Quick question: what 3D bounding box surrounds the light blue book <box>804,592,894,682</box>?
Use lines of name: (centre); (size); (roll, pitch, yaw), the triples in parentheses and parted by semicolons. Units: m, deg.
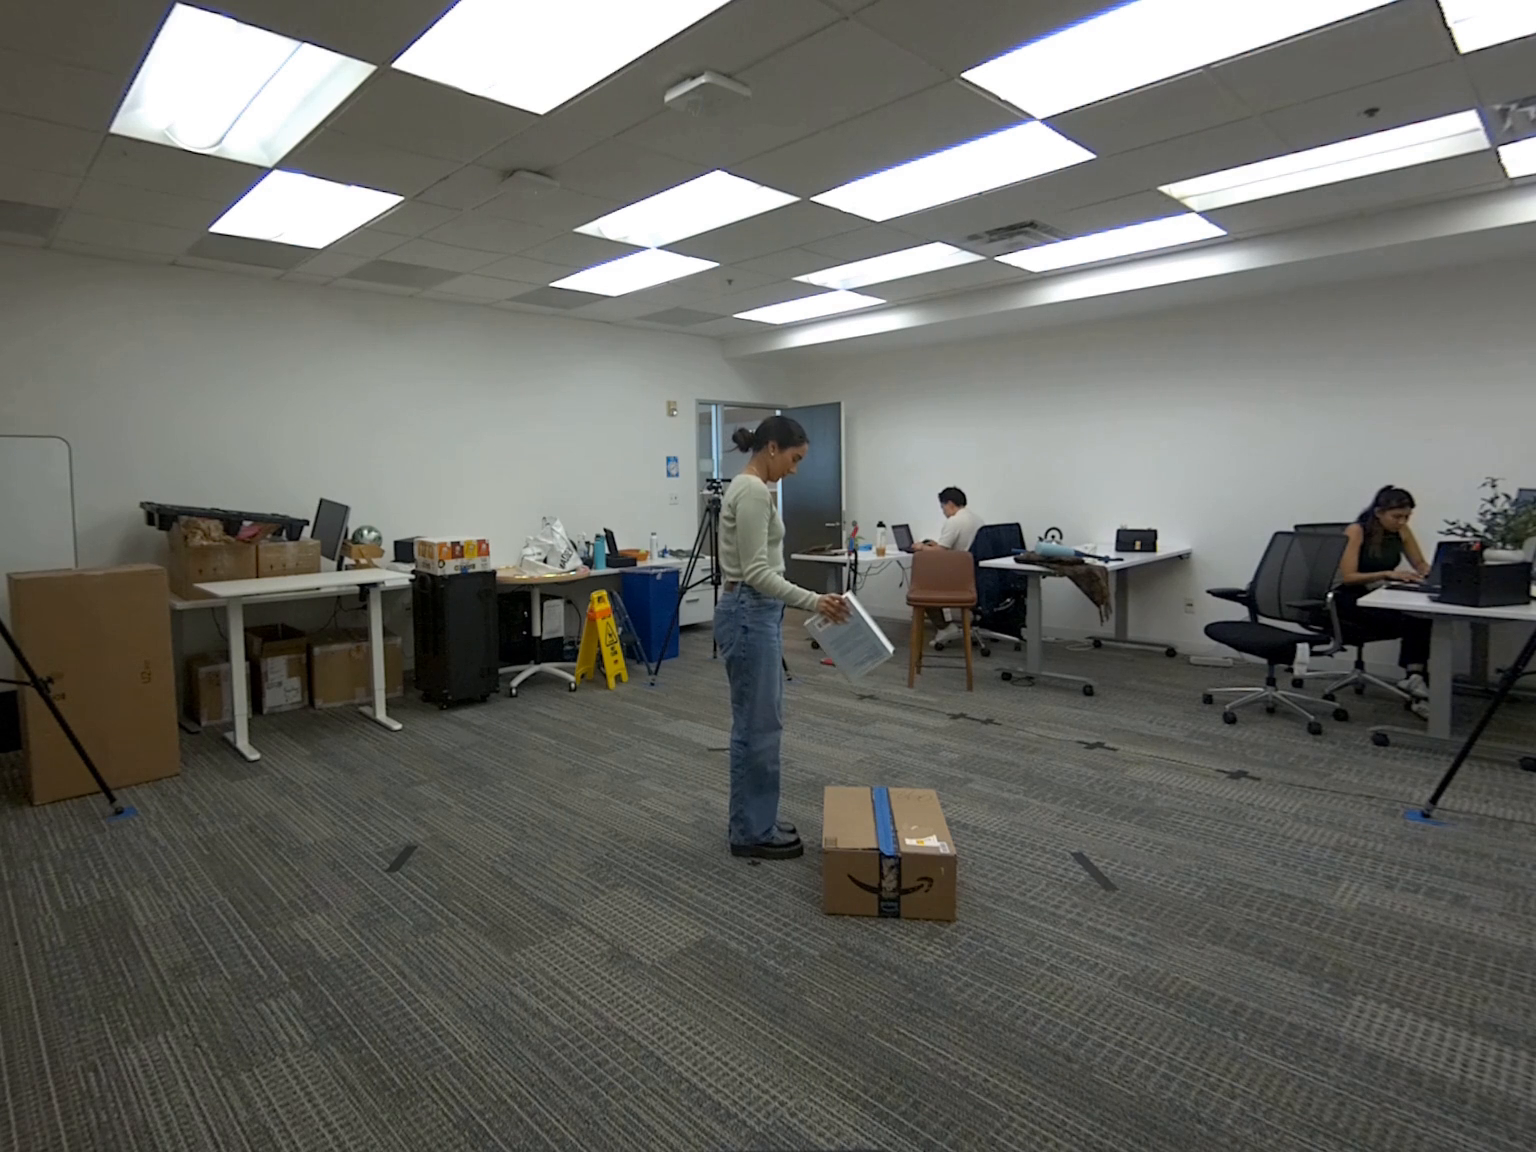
light blue book: (0.281, 0.217, 2.947); (0.192, 0.259, 0.059); (-33, 4, 17)
